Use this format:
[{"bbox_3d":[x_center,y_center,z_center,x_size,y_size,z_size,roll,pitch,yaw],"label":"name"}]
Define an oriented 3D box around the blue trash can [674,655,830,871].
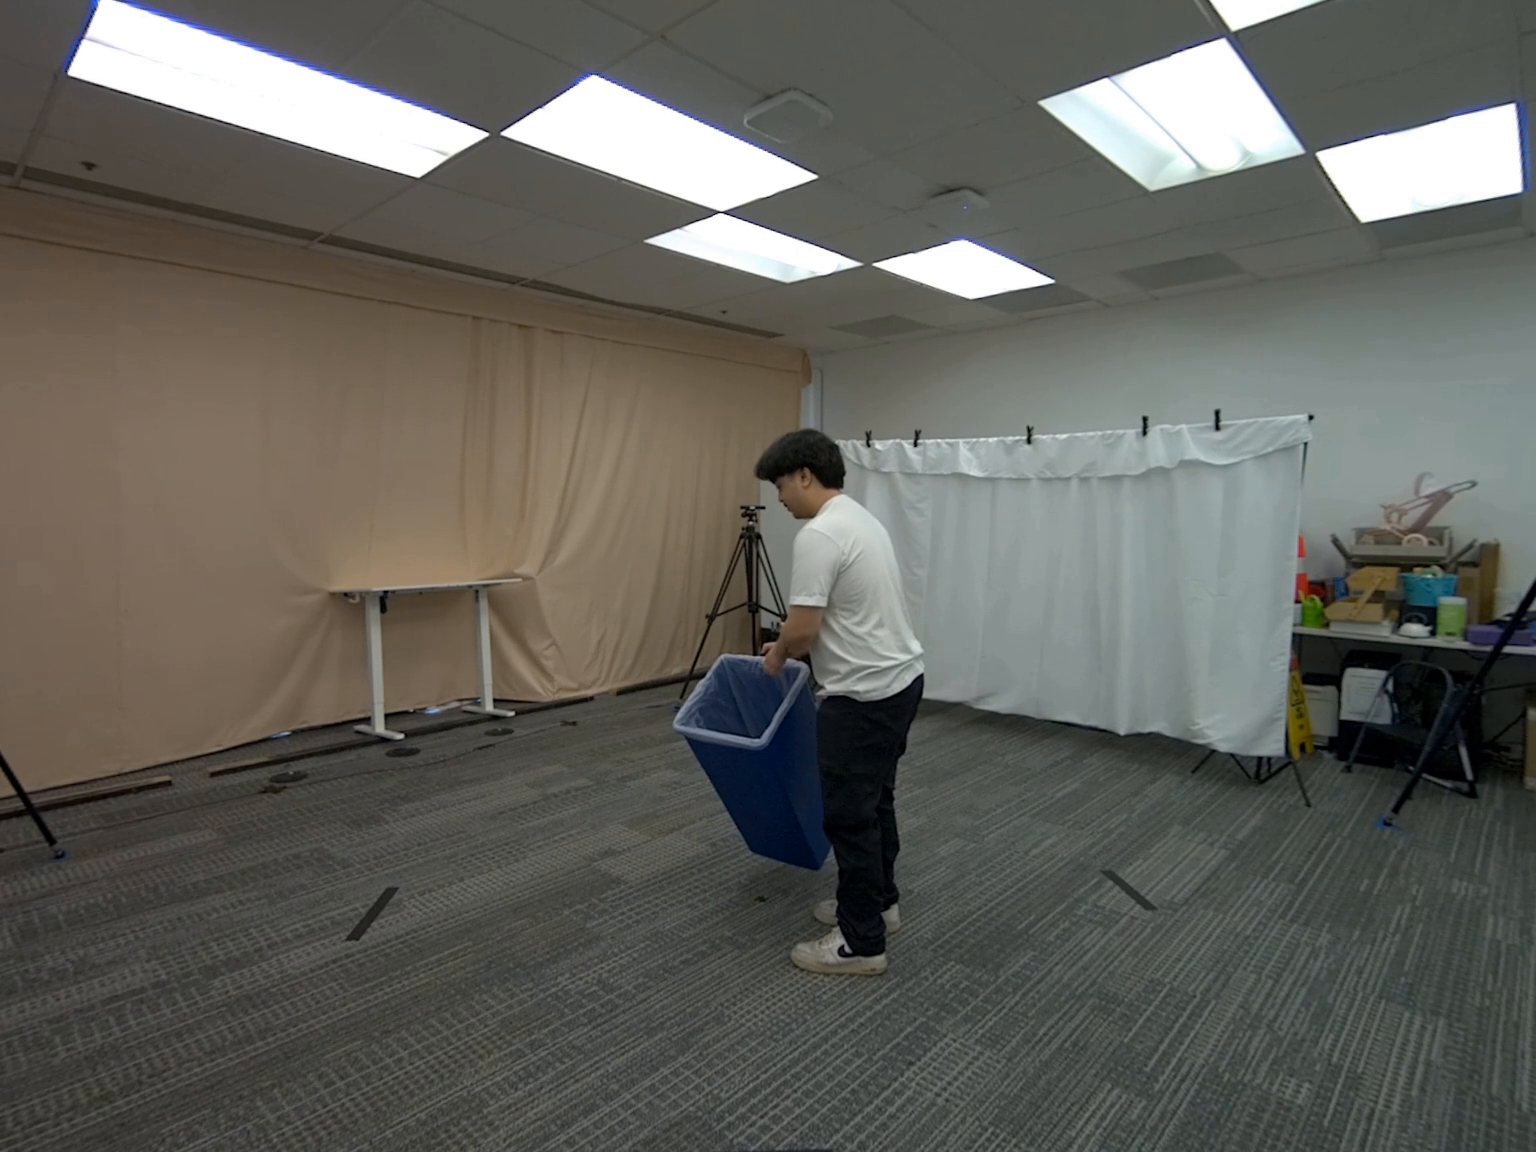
[{"bbox_3d":[0.011,0.683,2.988,0.390,0.696,0.372,2,37,35],"label":"blue trash can"}]
